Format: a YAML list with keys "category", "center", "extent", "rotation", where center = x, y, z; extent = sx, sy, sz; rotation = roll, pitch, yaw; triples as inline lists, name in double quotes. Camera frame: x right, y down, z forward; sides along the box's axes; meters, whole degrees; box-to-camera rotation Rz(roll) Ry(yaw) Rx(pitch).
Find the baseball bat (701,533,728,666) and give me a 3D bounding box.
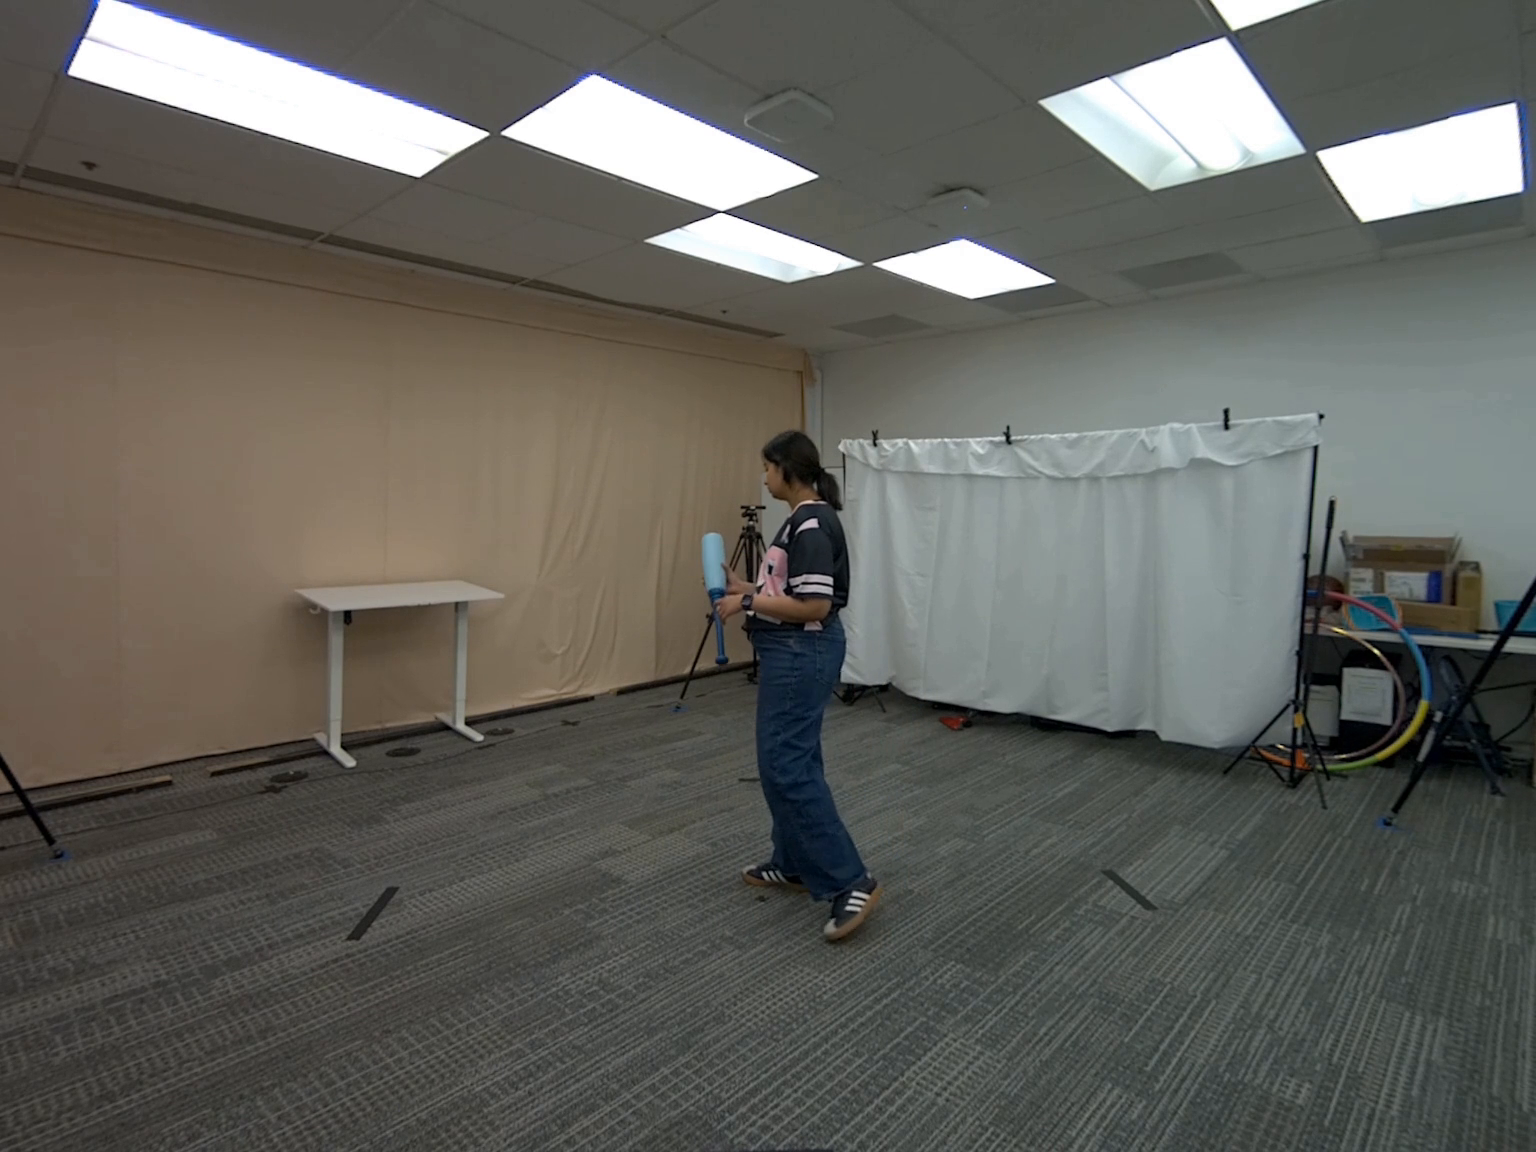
- category: "baseball bat"
  center: [-0.173, 0.088, 3.154]
  extent: [0.089, 0.553, 0.087]
  rotation: [-3, -32, -4]
